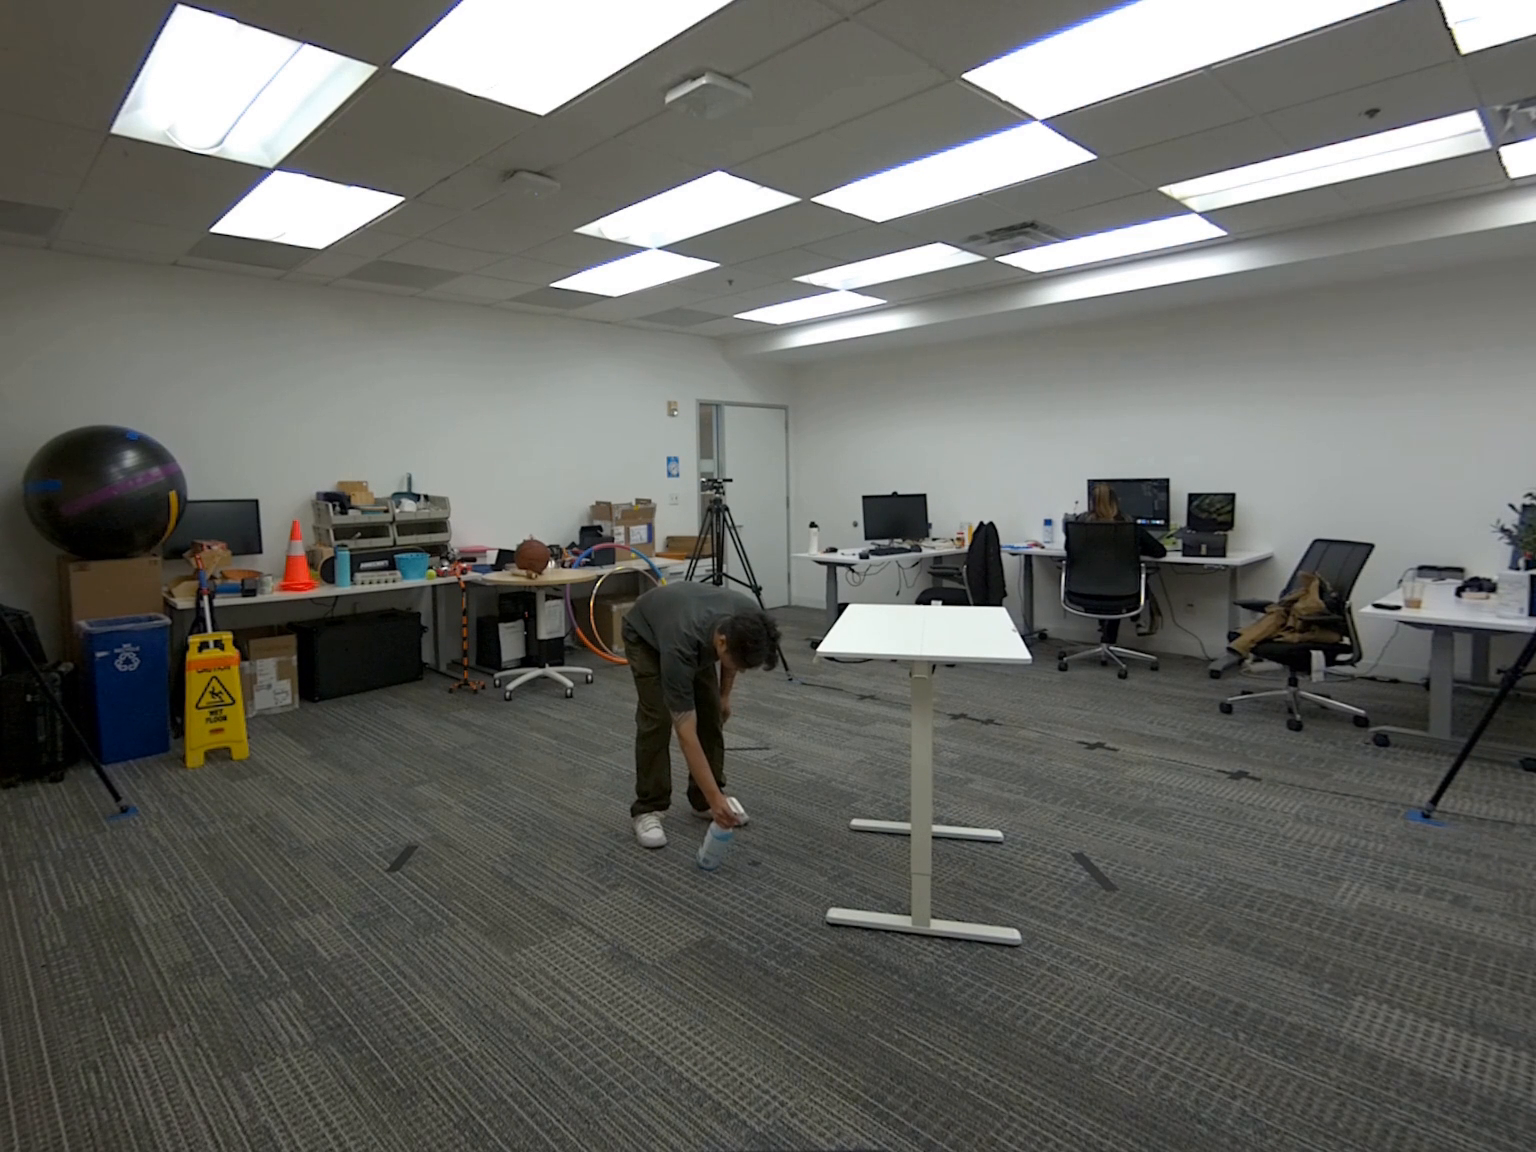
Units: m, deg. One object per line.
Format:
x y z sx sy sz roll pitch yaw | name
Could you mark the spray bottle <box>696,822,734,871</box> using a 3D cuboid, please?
-0.167 0.917 3.042 0.085 0.294 0.092 18 24 -16 | spray bottle
